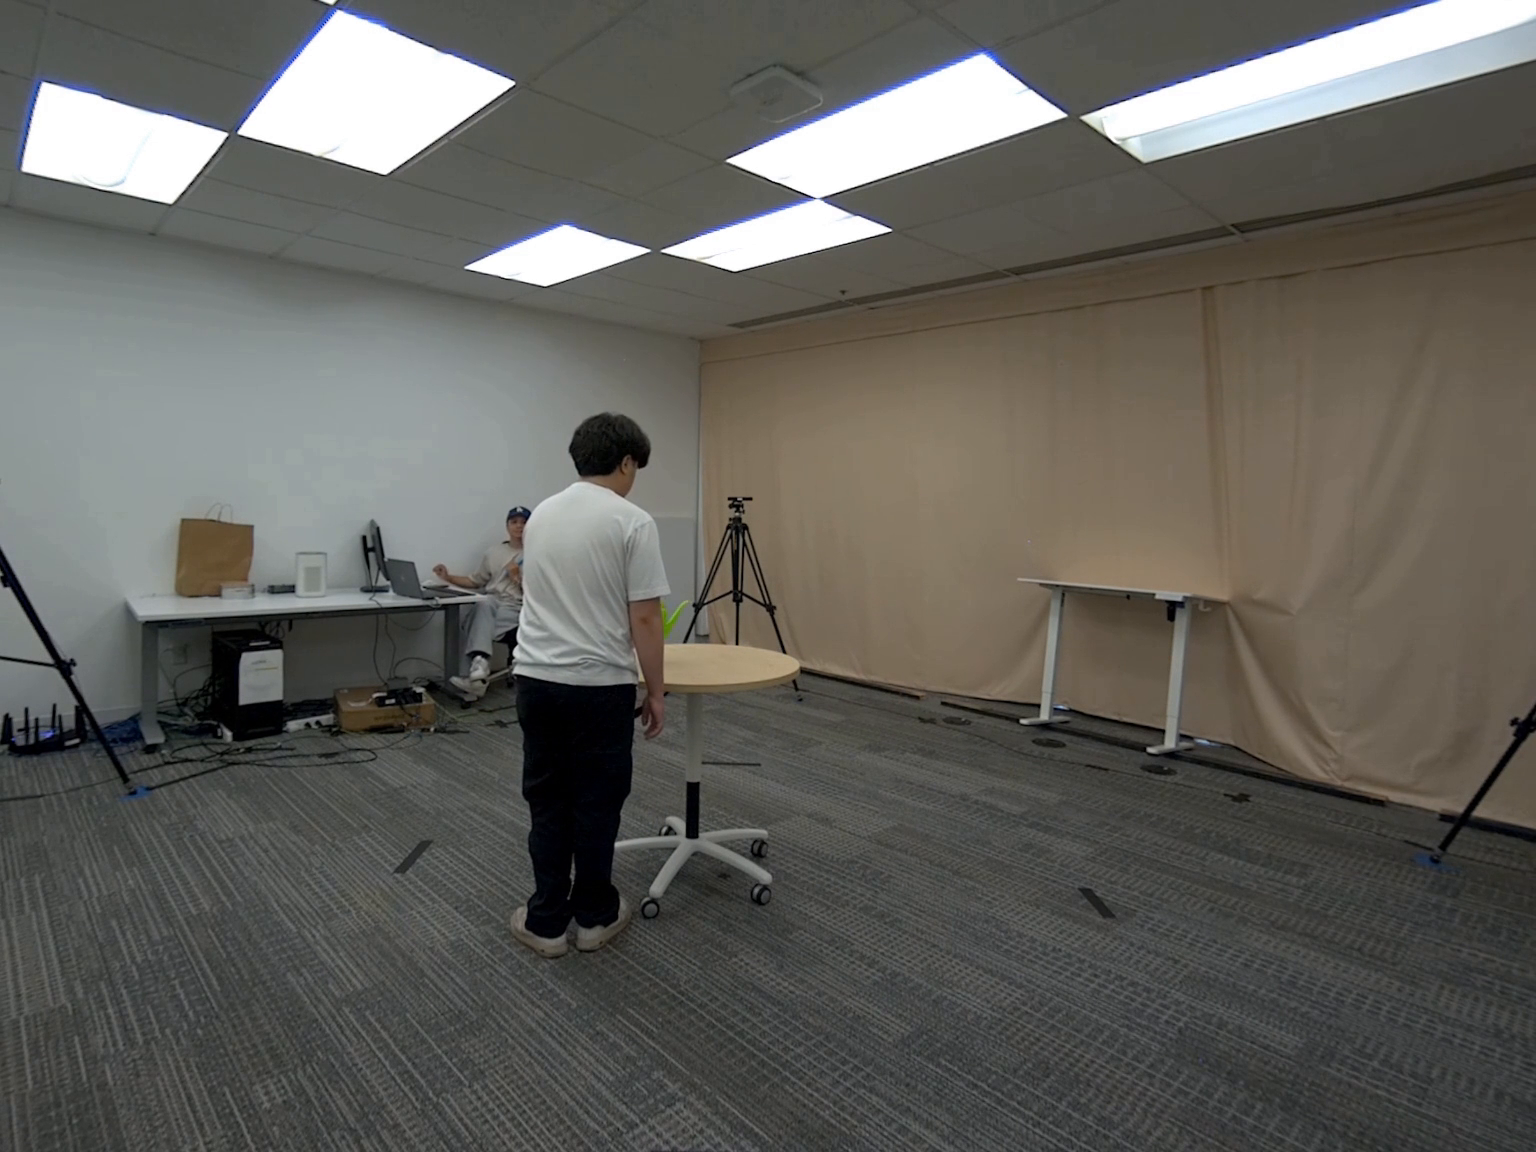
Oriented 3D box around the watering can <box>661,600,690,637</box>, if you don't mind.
[{"bbox_3d":[-0.398,0.170,3.050,0.271,0.177,0.100,5,-5,-36],"label":"watering can"}]
